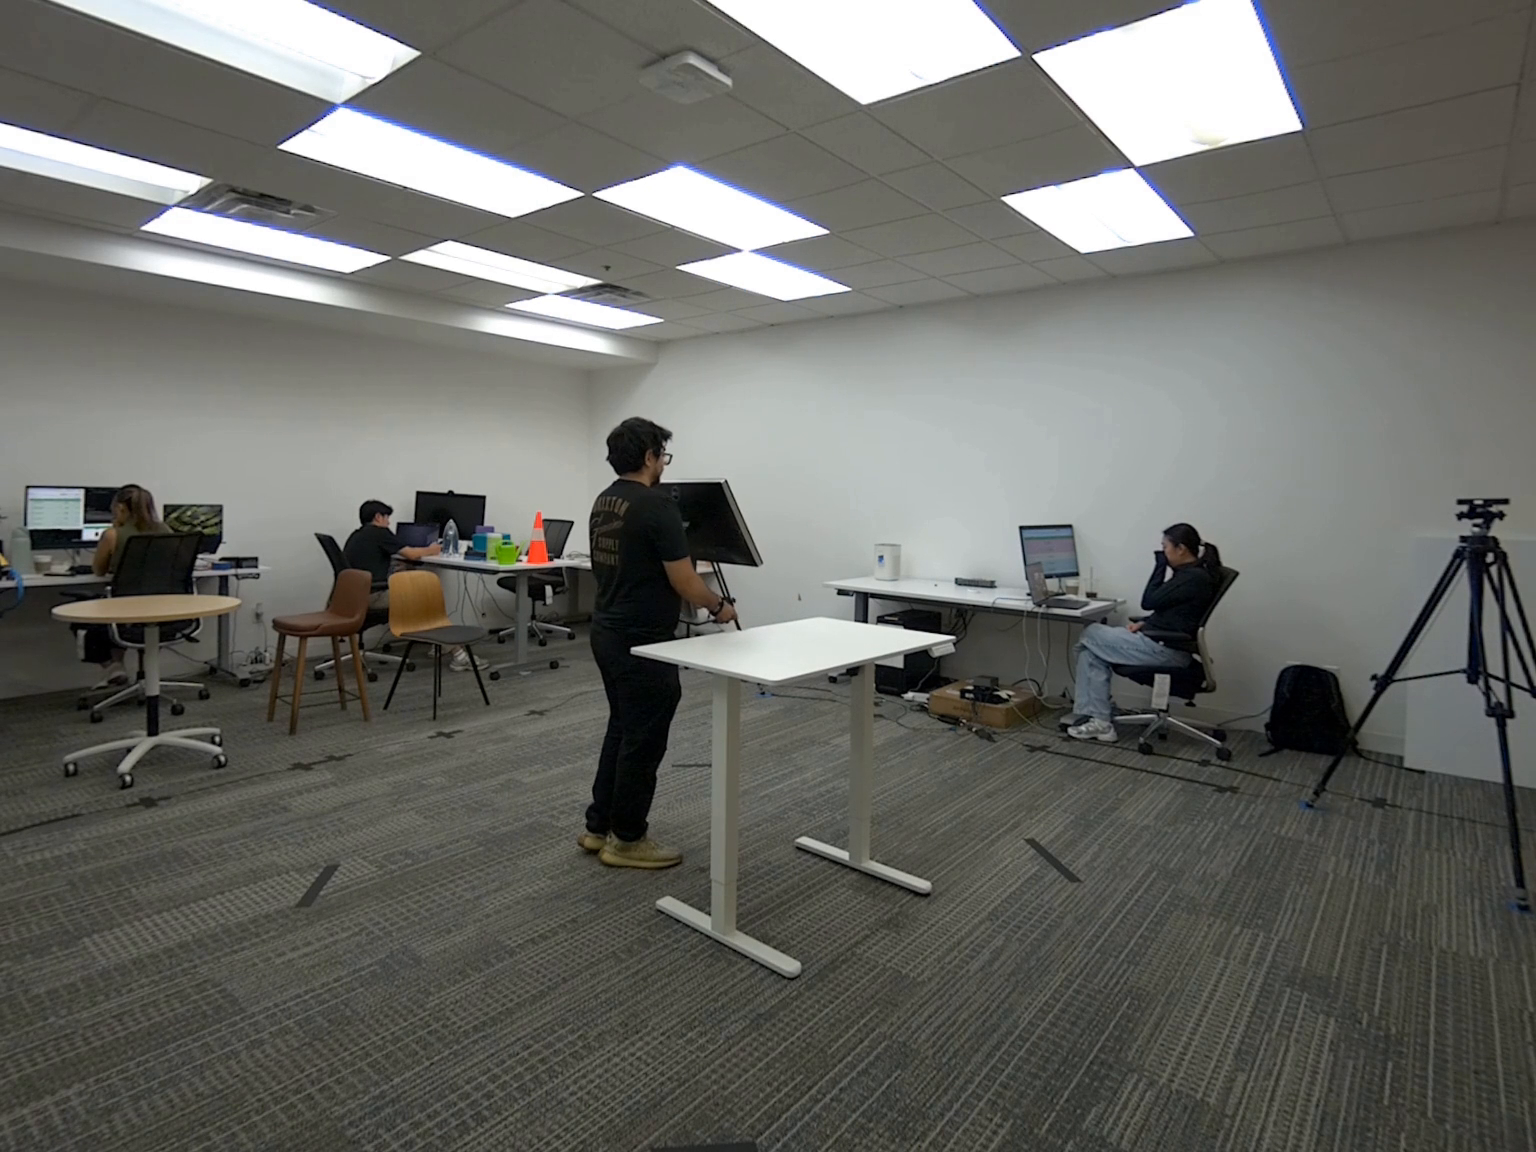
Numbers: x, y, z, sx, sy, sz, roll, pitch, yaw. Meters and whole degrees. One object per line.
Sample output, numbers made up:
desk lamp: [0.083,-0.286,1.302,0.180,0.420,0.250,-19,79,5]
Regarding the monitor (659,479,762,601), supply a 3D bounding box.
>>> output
monitor: [-0.313,-0.099,3.269,0.207,0.542,0.584,-30,23,-35]
